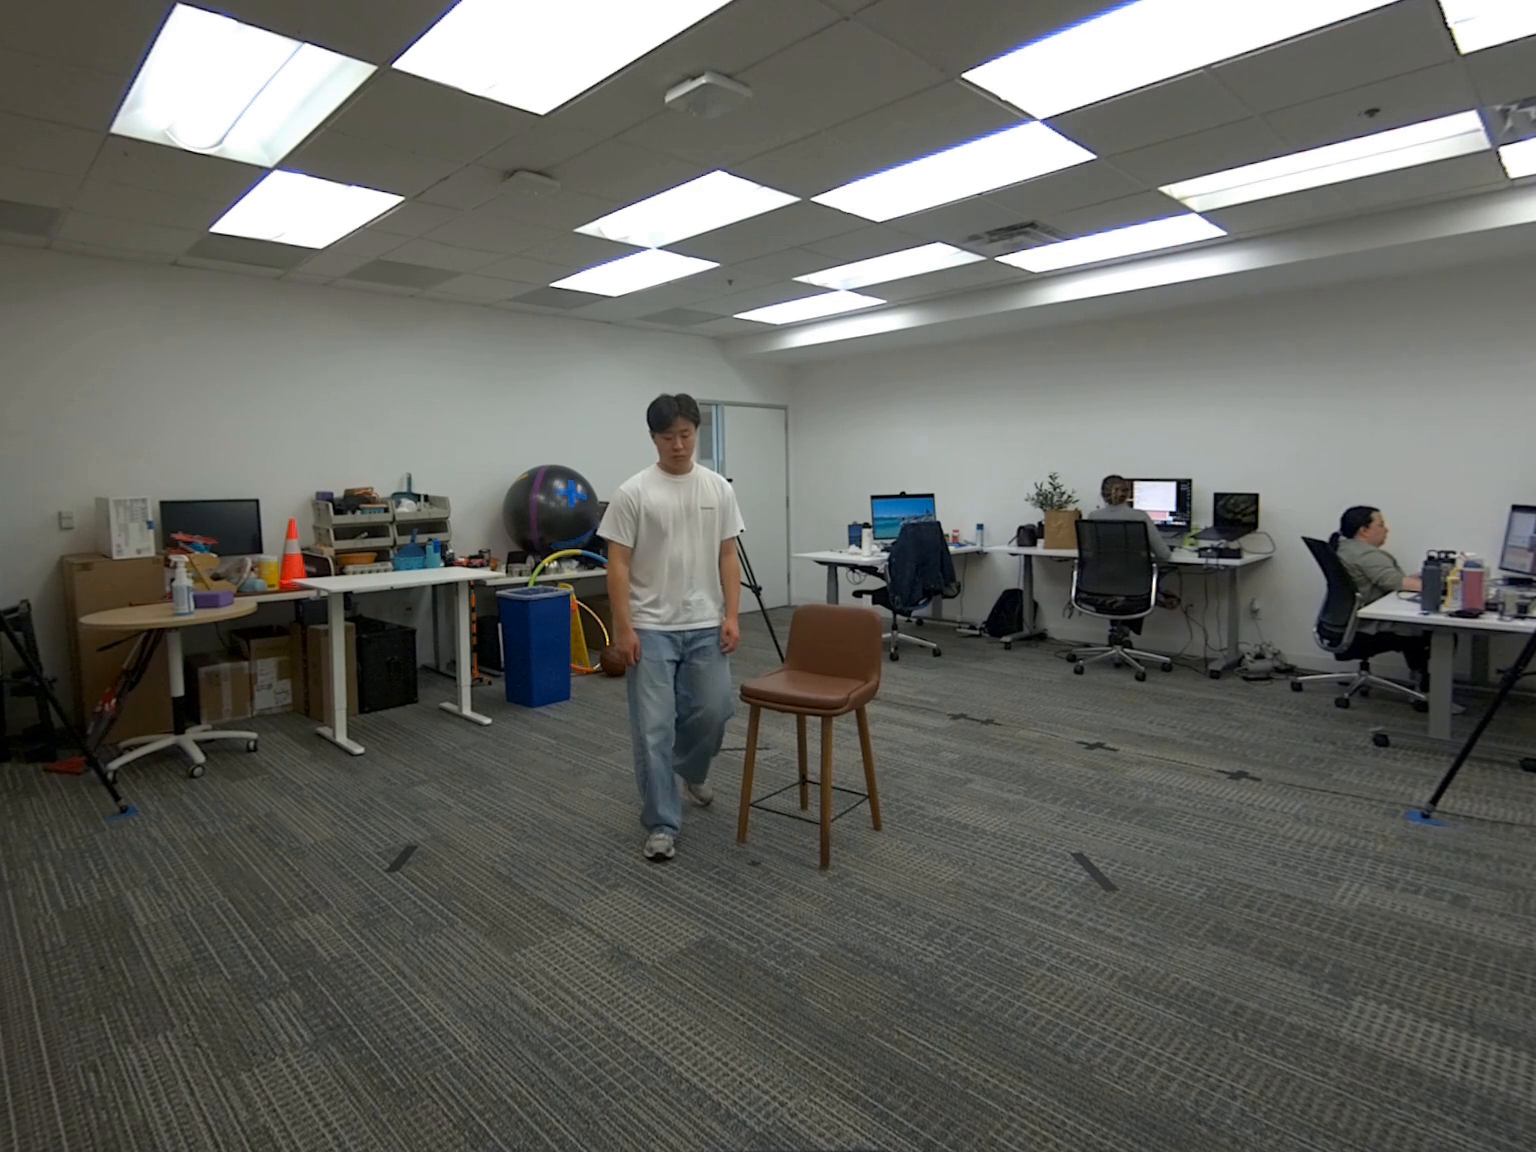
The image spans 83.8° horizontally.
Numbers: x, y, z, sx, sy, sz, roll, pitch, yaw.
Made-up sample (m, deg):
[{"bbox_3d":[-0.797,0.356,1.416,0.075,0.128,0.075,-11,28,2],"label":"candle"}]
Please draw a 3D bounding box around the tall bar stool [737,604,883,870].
[{"bbox_3d":[0.172,0.580,3.311,0.470,0.888,0.455,3,4,37],"label":"tall bar stool"}]
